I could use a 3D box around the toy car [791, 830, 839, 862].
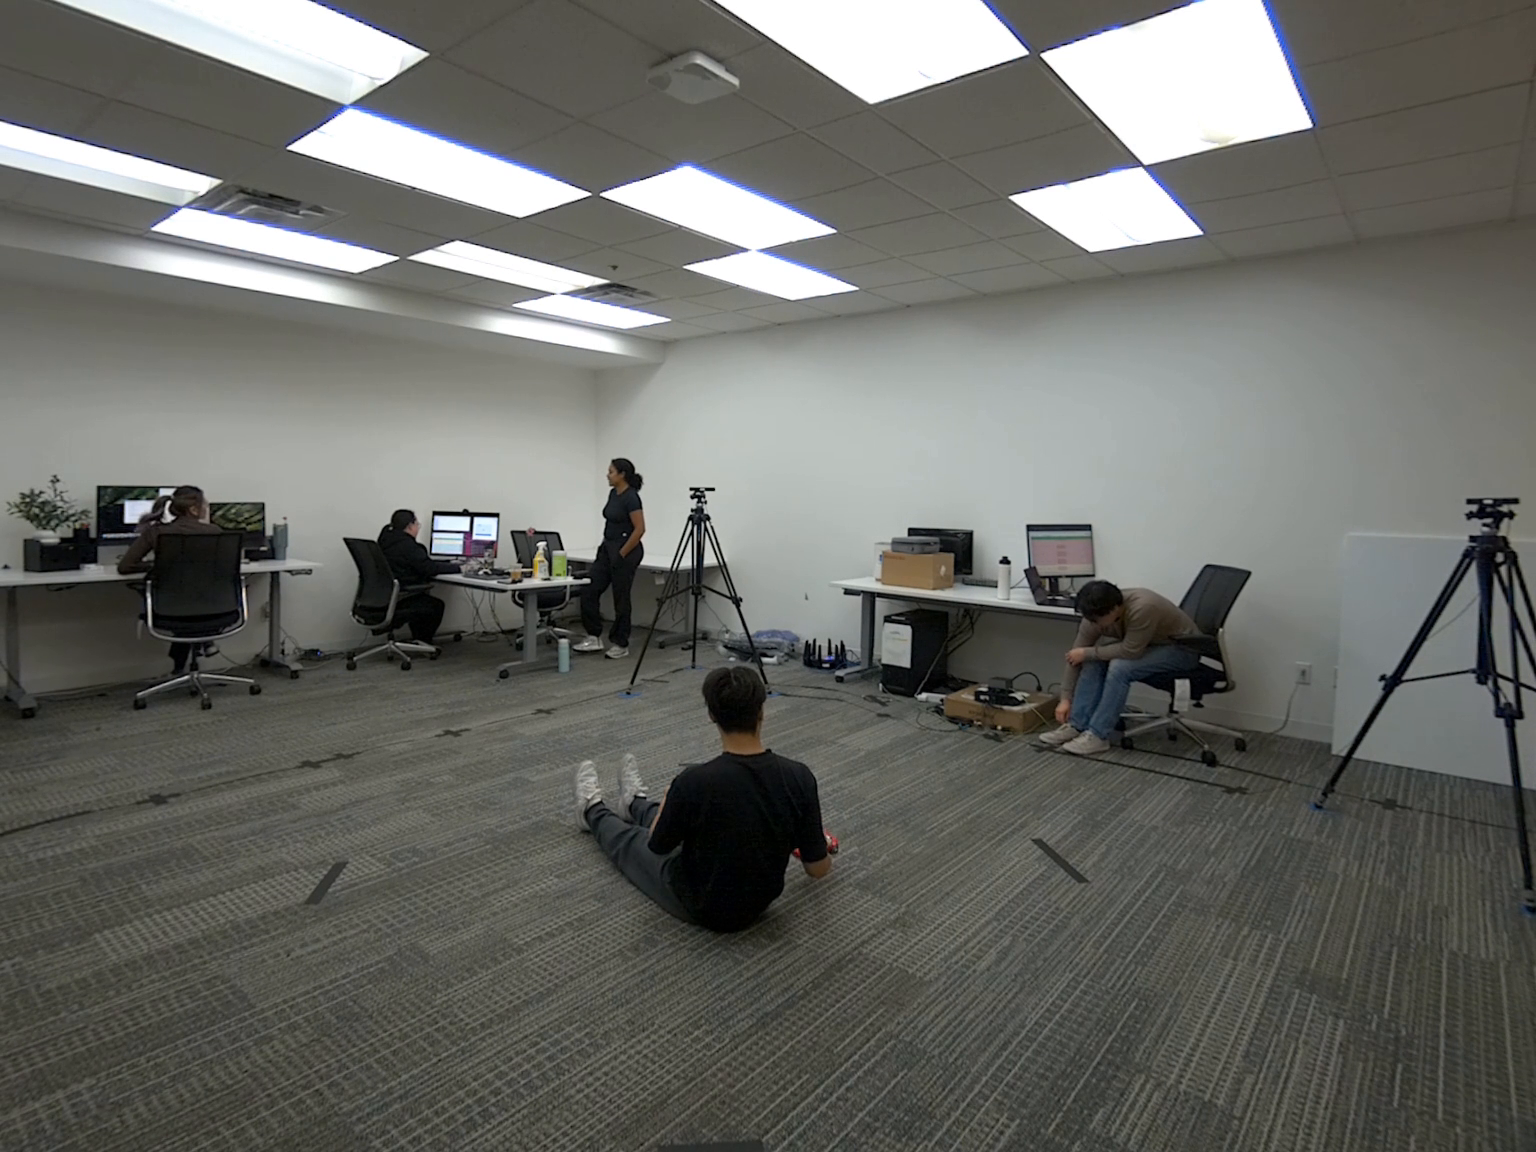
[{"bbox_3d":[0.137,0.955,3.045,0.136,0.083,0.245,26,5,43],"label":"toy car"}]
